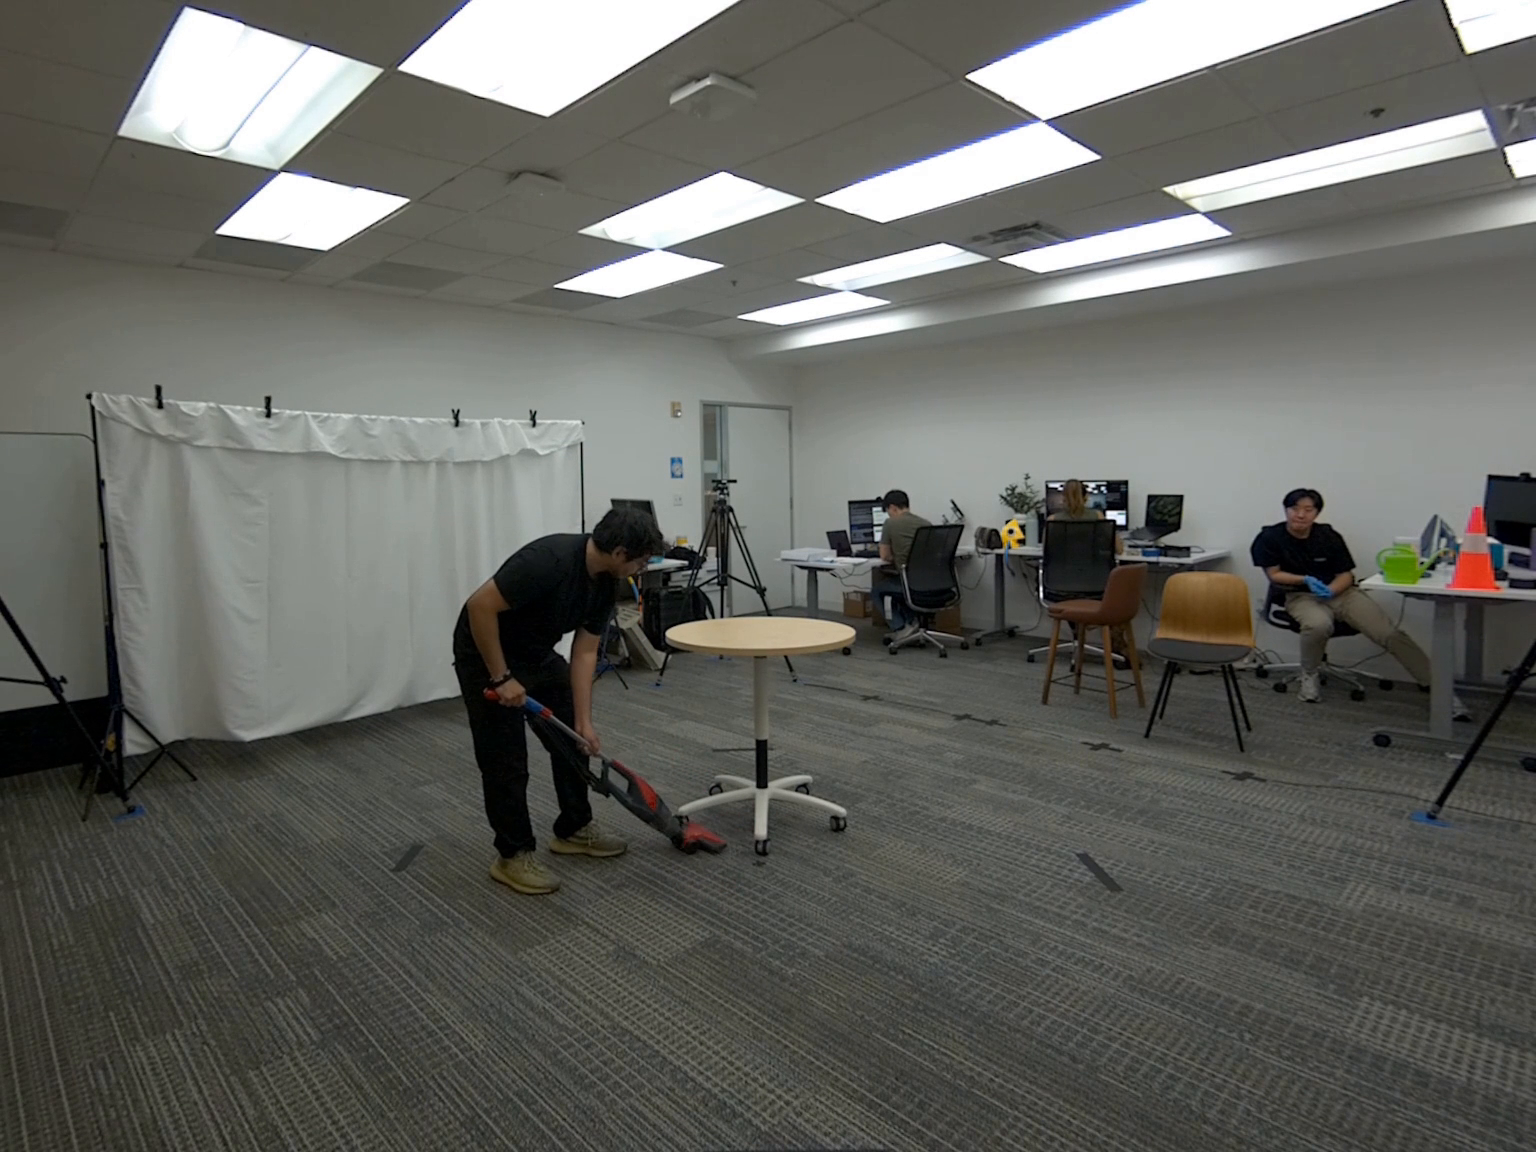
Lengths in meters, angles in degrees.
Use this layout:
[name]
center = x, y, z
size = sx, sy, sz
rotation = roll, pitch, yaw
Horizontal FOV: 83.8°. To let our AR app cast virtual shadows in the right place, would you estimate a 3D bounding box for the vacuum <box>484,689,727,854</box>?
[vacuum]
center = -0.587, 0.687, 3.036
size = 1.015, 0.144, 0.260
rotation = 45, -19, -29
